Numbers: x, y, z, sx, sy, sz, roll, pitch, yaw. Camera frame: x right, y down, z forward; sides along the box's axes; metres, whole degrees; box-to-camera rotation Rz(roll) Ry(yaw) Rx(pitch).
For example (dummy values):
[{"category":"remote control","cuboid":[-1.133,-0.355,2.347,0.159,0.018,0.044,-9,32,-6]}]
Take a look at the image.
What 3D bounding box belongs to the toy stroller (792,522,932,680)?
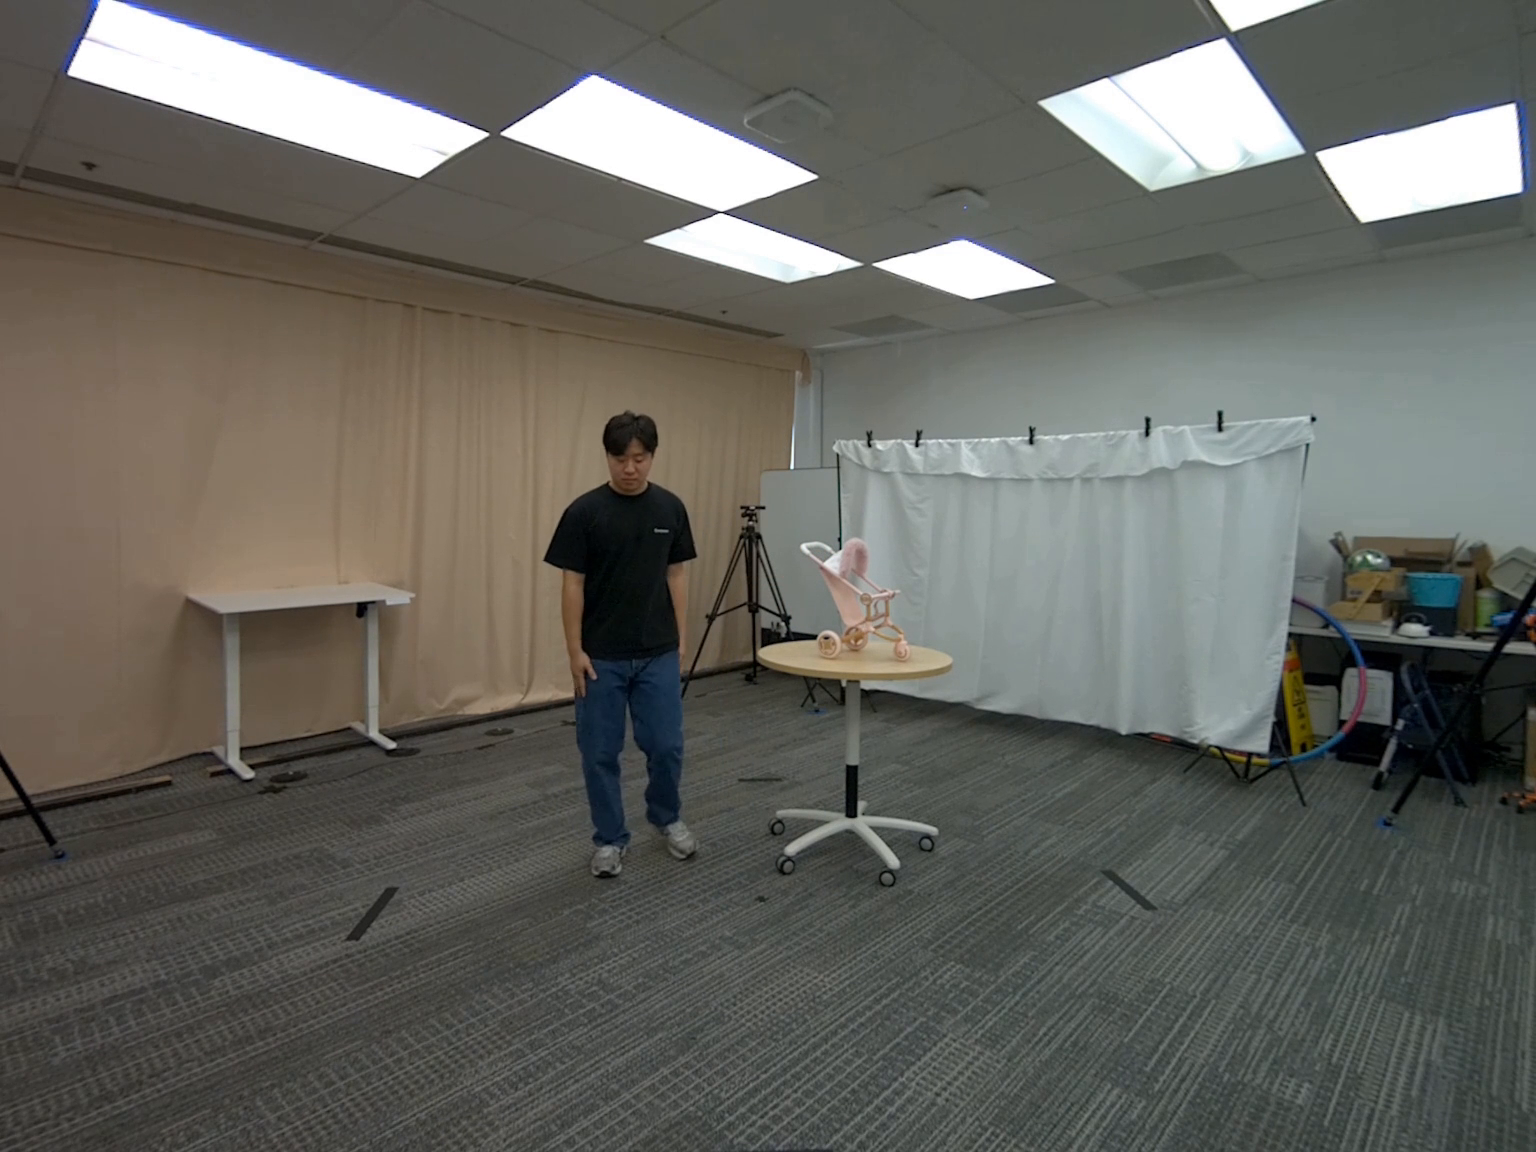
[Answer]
[{"category":"toy stroller","cuboid":[0.364,0.092,3.312,0.350,0.537,0.273,-15,-6,35]}]
